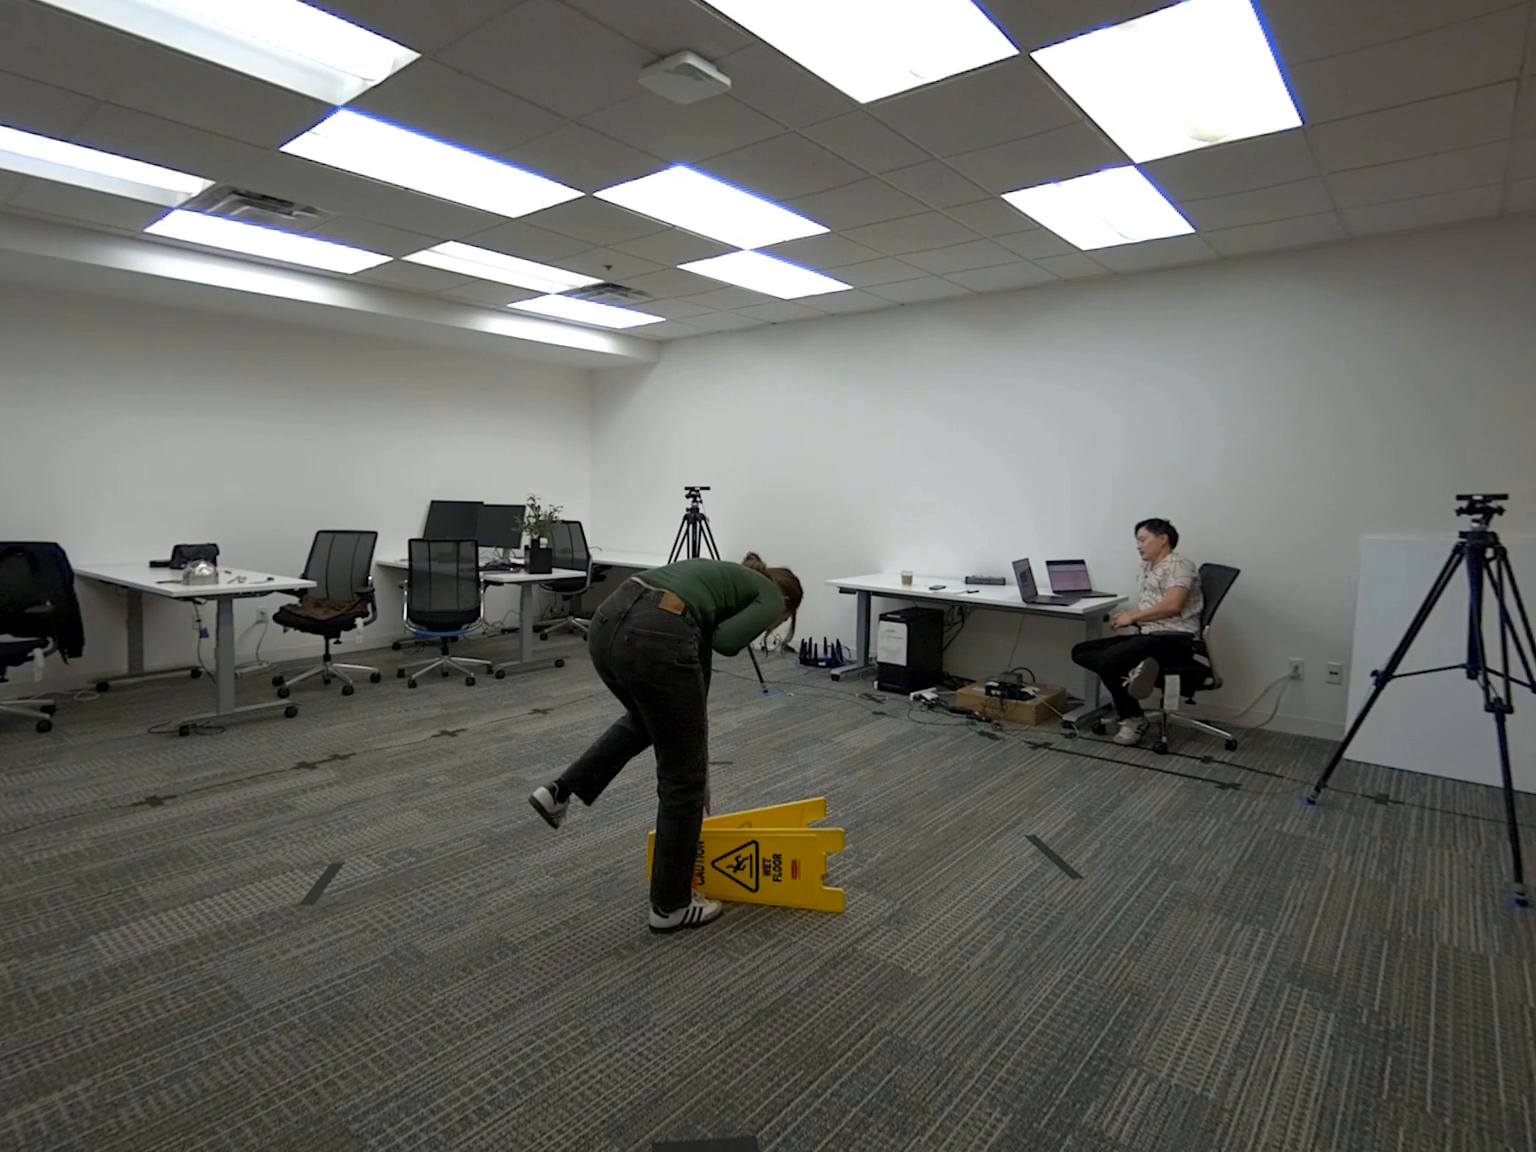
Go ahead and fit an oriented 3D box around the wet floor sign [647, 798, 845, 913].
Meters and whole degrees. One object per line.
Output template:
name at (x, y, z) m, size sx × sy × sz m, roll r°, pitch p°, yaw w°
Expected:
wet floor sign at (-0.097, 0.954, 2.910) m, size 0.643 × 0.281 × 0.292 m, roll -2°, pitch 5°, yaw -5°
